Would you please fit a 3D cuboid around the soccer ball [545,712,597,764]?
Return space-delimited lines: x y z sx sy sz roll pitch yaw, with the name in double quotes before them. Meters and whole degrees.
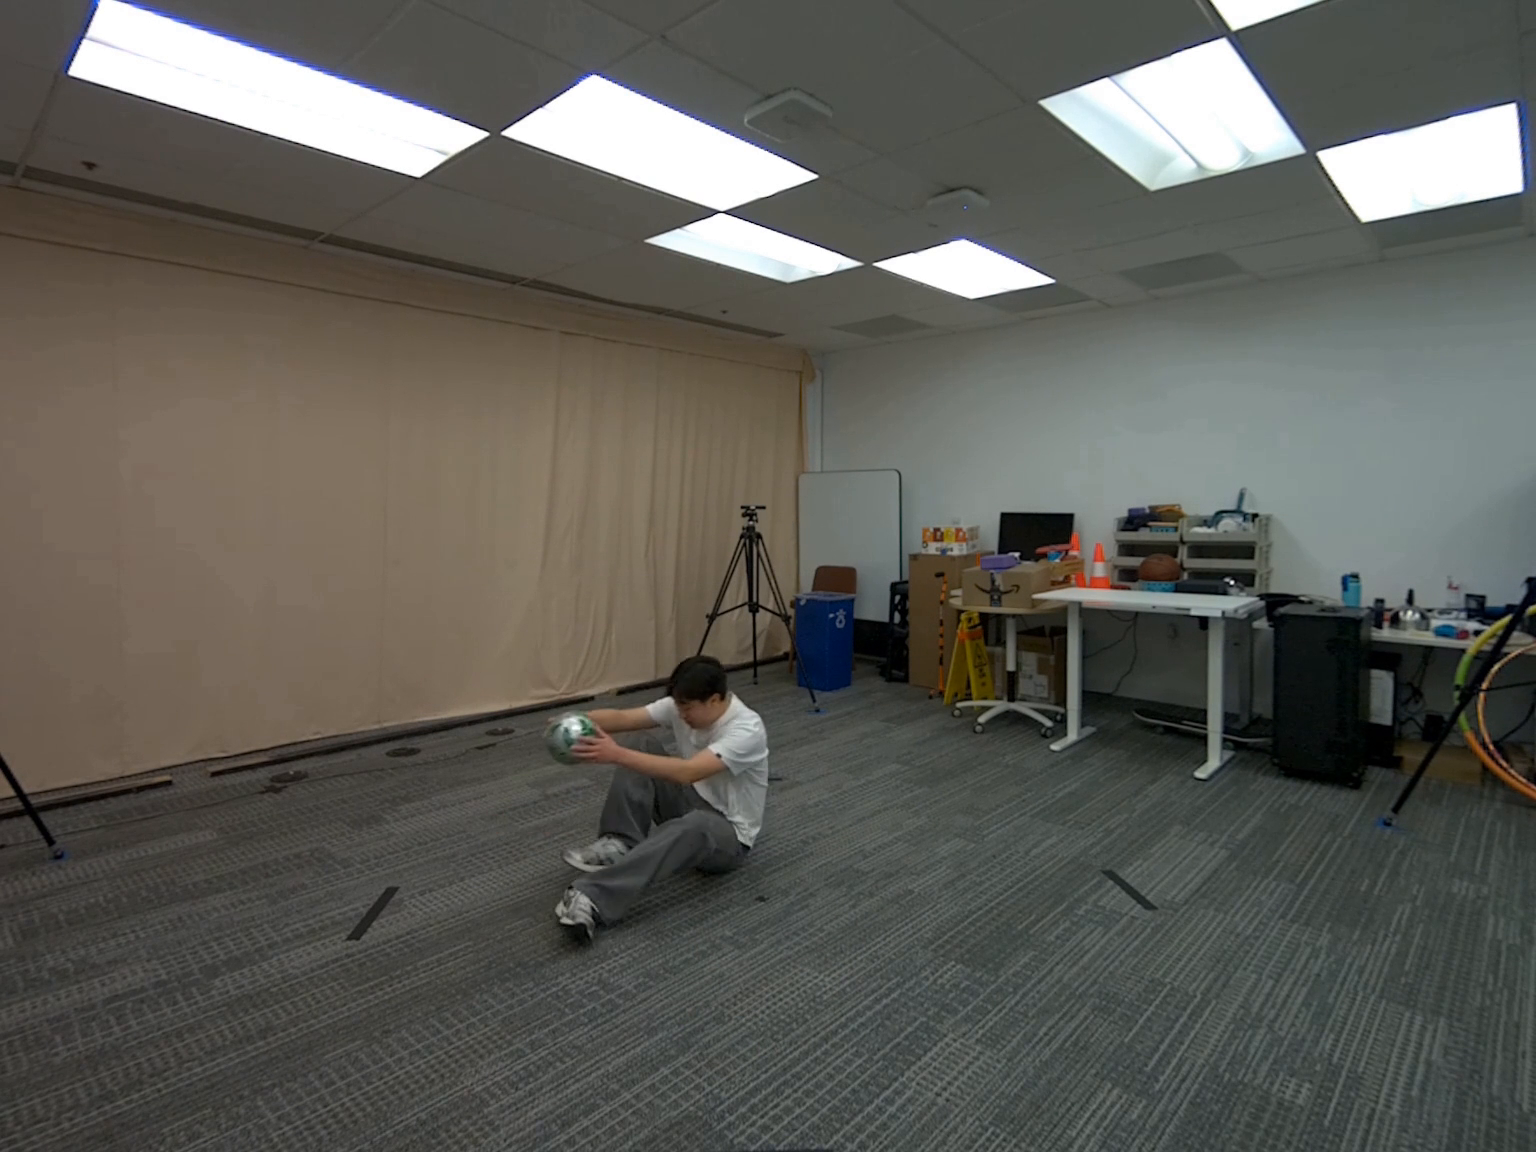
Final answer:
"soccer ball" -0.720 0.593 2.968 0.187 0.187 0.188 0 4 -2
